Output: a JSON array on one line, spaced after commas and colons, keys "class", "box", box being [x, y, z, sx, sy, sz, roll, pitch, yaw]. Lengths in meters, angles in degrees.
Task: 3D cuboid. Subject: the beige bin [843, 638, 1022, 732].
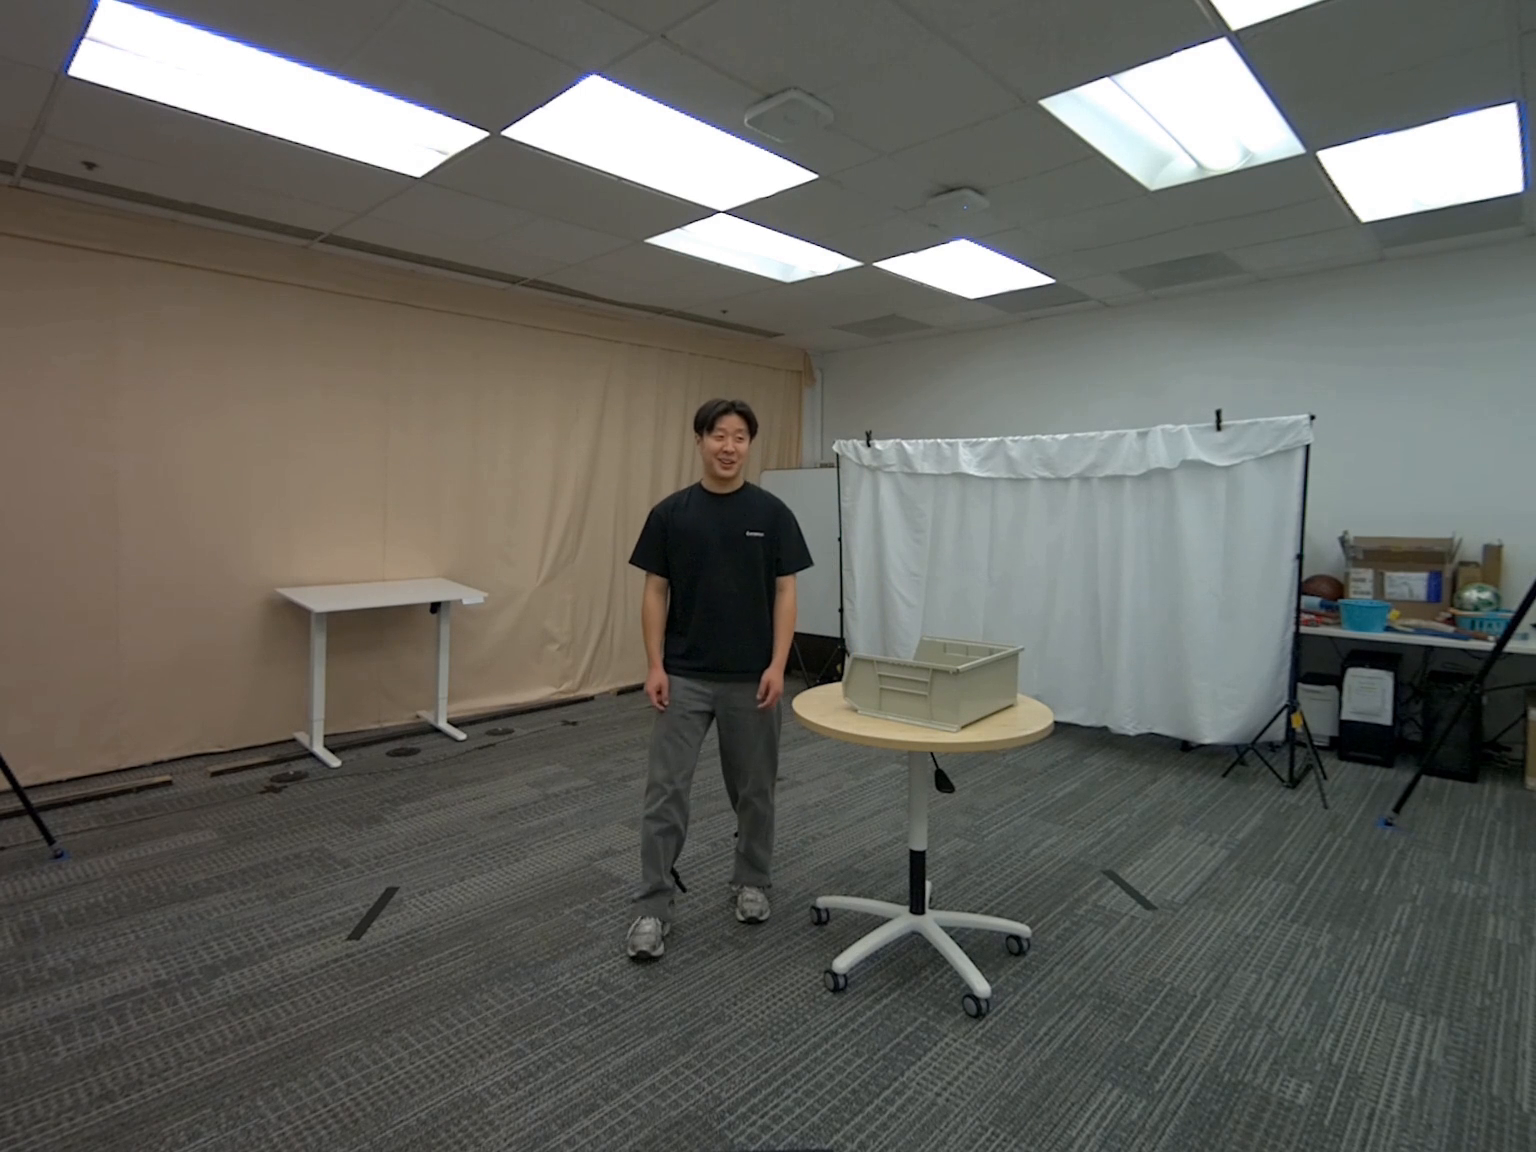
[{"class": "beige bin", "box": [0.496, 0.310, 2.523, 0.390, 0.188, 0.409, 4, 6, 41]}]
